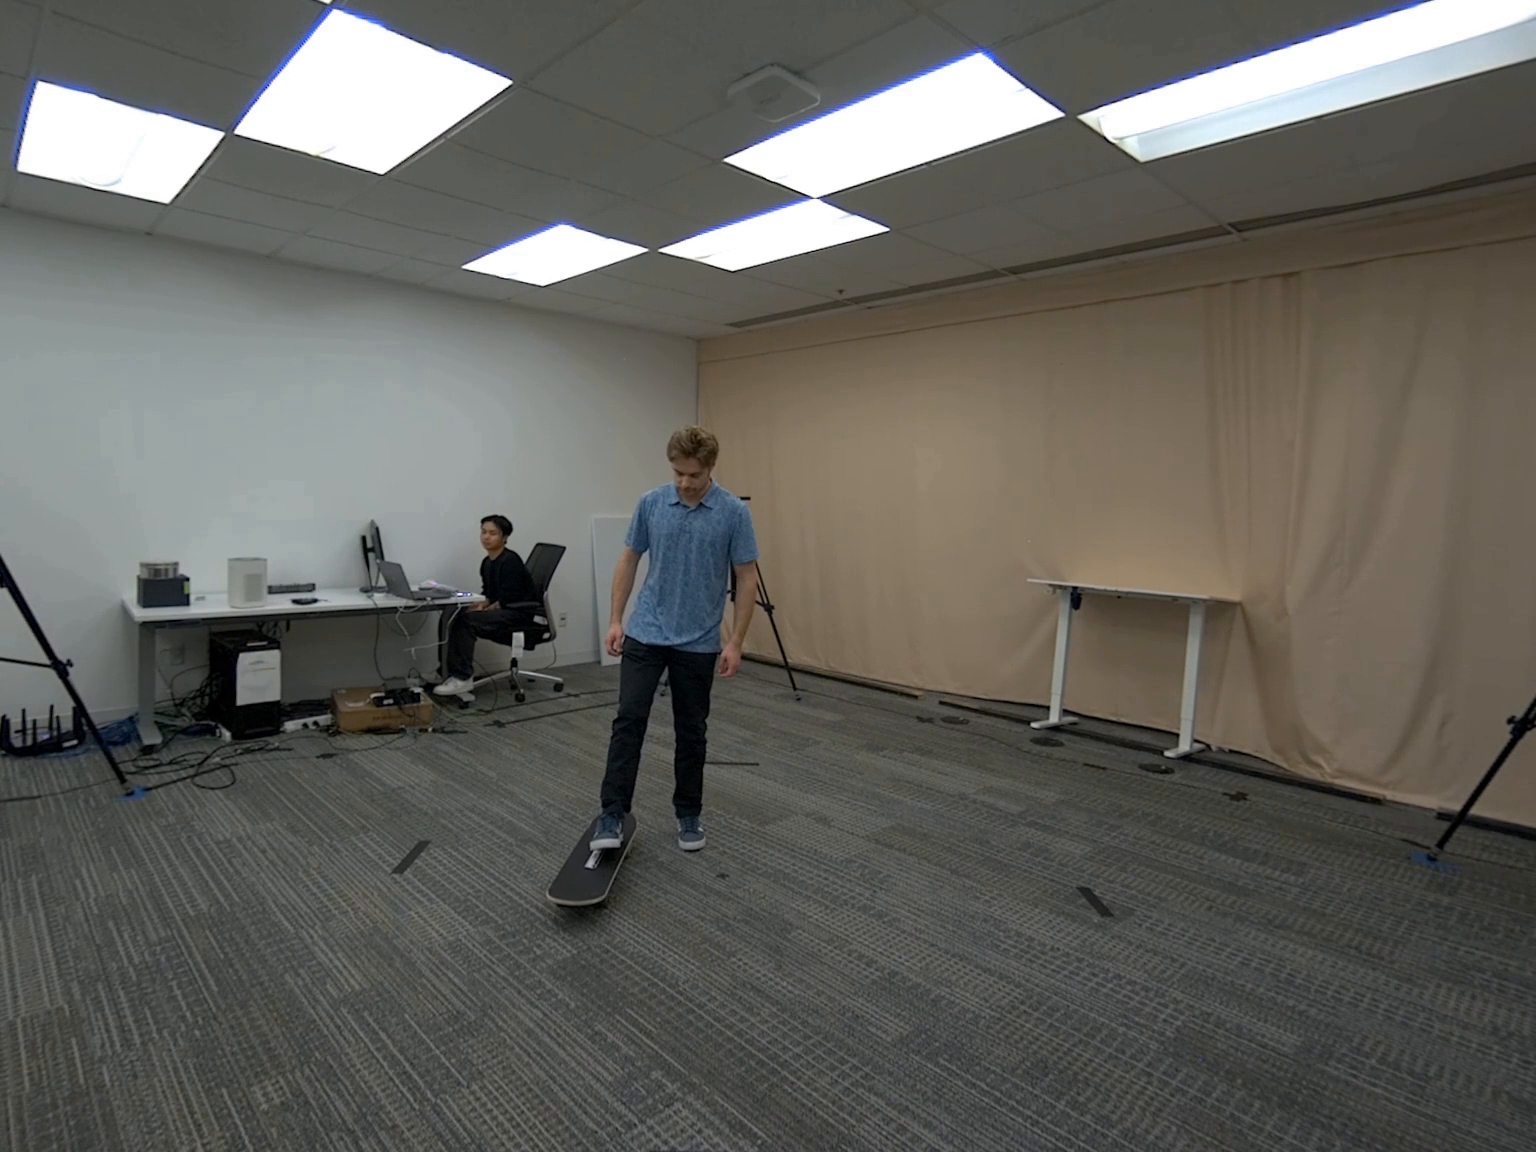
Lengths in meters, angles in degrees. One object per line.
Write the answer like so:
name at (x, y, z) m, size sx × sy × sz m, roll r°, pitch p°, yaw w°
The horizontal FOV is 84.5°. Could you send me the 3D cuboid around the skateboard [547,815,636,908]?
skateboard at (-0.627, 1.044, 3.046) m, size 0.194 × 0.110 × 0.786 m, roll 3°, pitch 5°, yaw 1°
